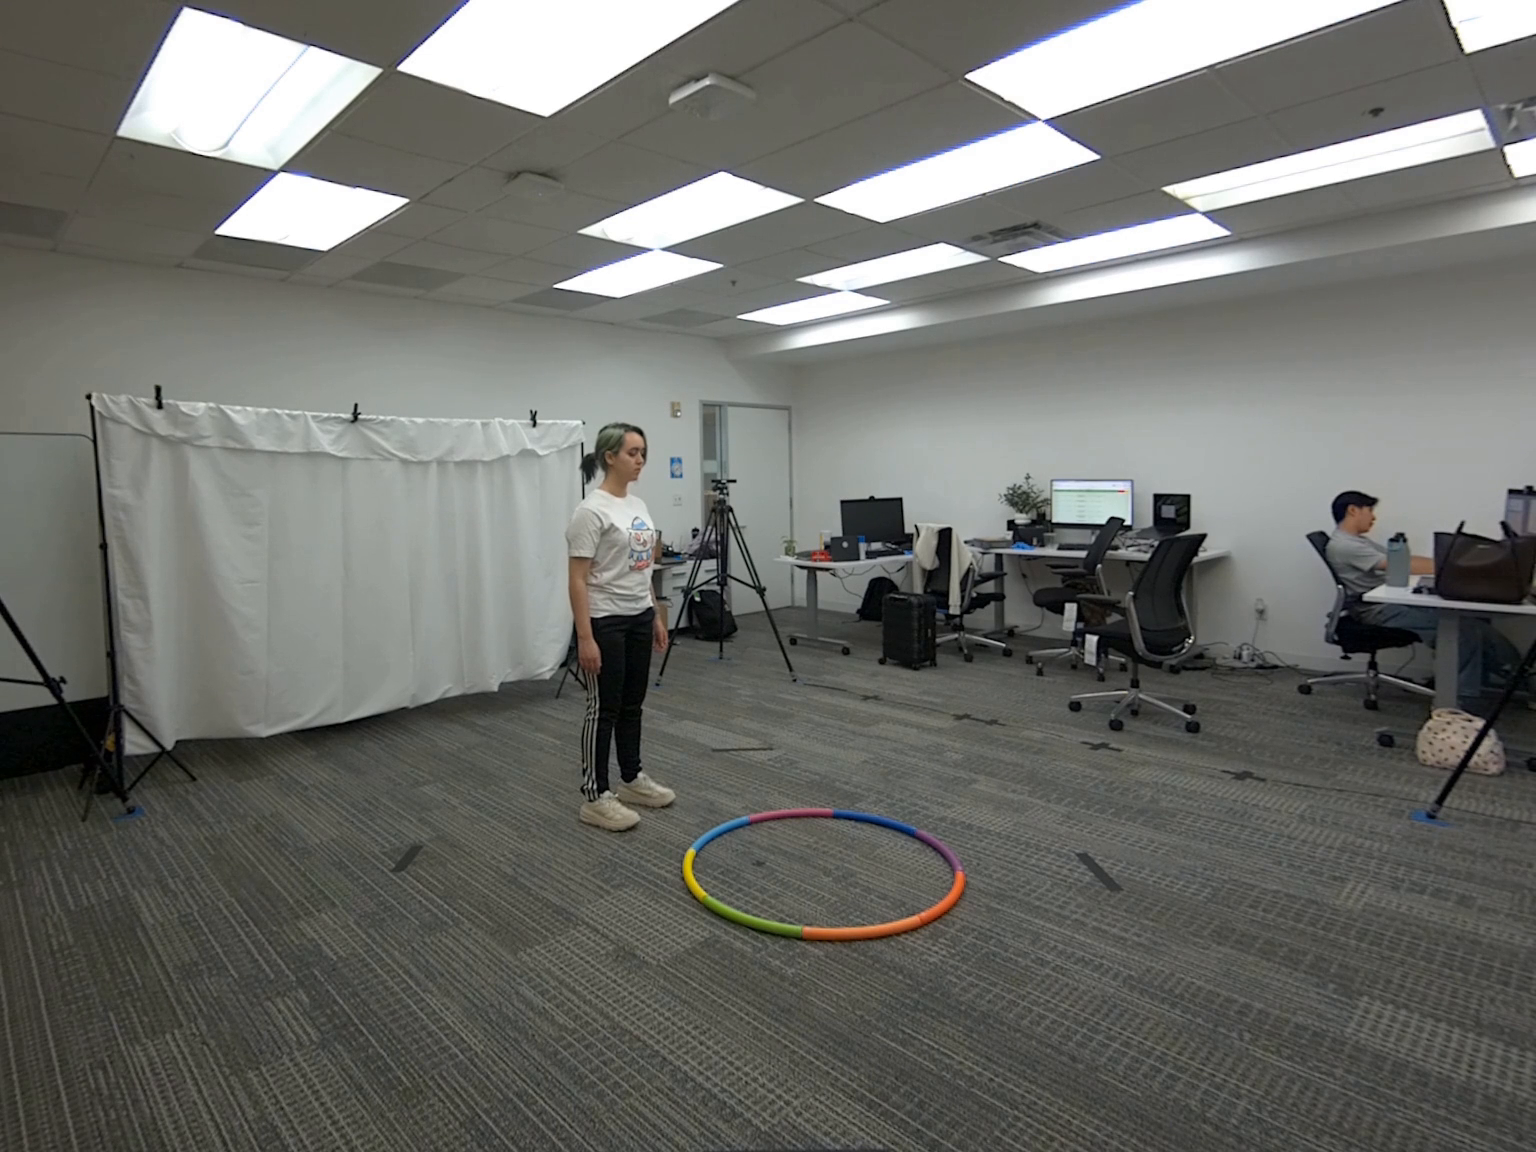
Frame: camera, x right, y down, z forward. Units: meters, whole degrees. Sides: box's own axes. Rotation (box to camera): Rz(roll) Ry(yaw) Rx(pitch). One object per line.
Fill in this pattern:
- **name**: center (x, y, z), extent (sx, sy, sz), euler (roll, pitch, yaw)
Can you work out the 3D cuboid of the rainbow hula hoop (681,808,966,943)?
- **rainbow hula hoop**: center (0.185, 1.019, 3.056), extent (0.978, 0.035, 0.984), euler (-2, 7, -2)
